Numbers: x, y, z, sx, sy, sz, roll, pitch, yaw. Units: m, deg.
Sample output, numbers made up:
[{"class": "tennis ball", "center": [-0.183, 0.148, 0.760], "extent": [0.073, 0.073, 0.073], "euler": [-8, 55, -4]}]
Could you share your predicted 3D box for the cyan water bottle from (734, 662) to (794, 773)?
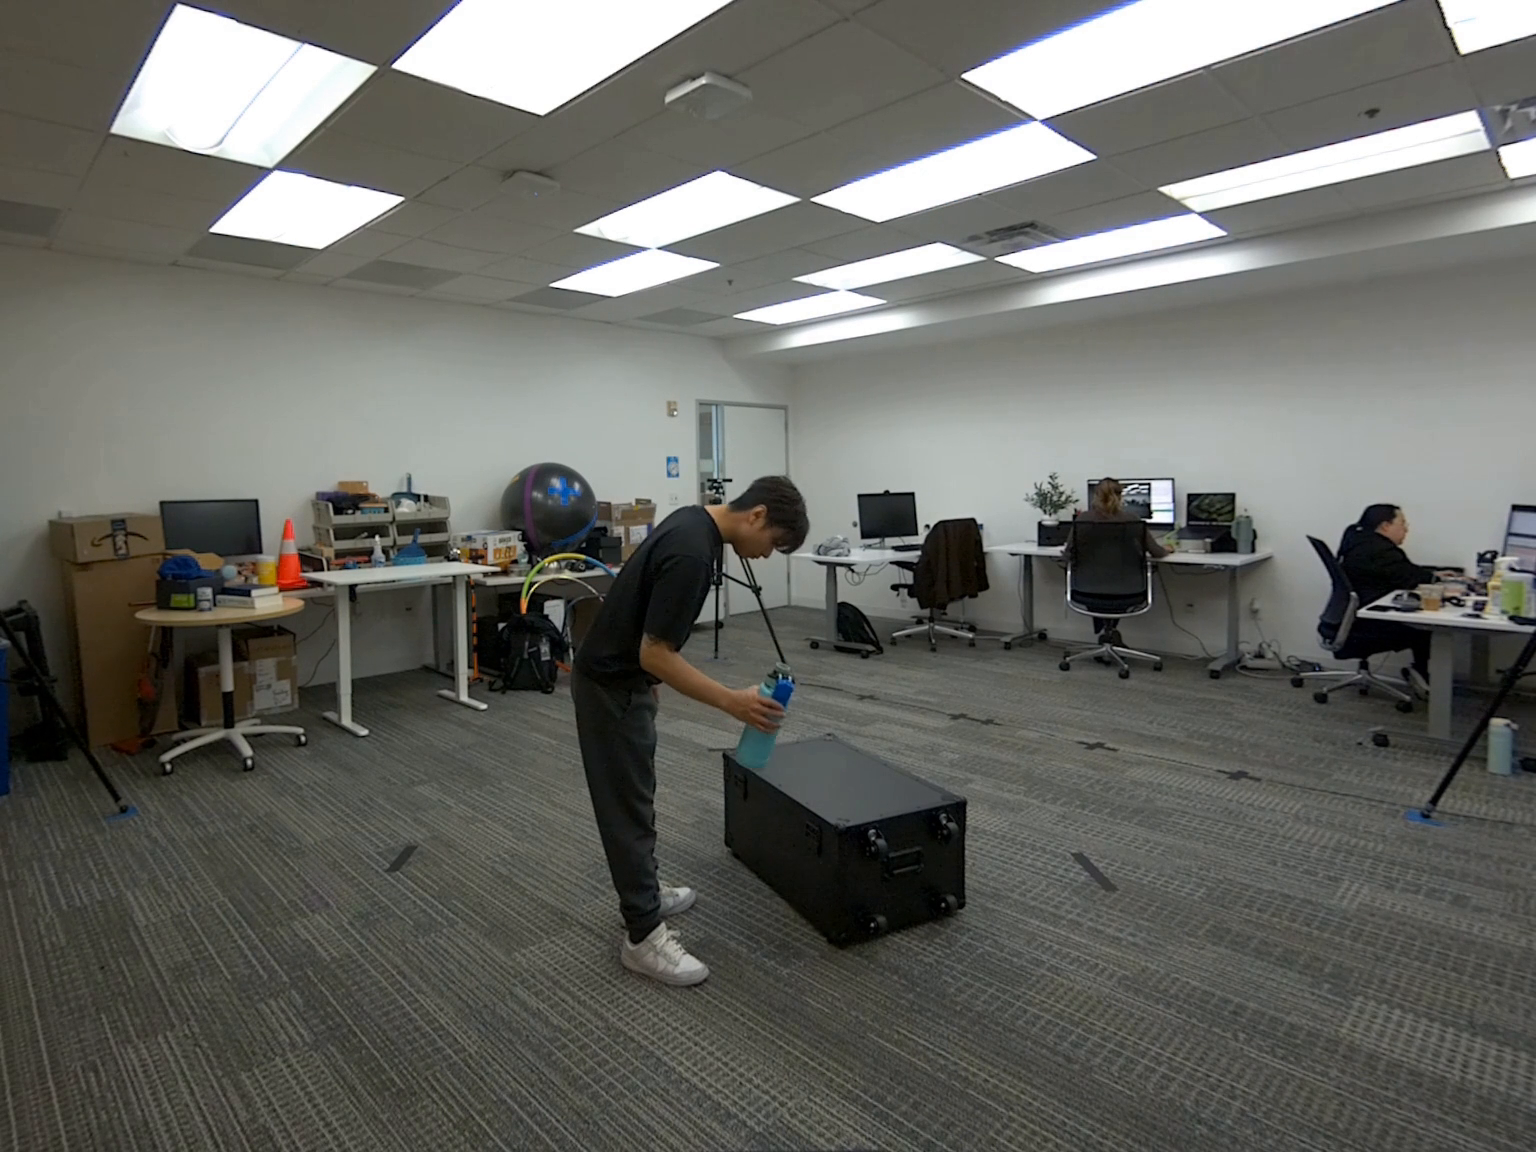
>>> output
[{"class": "cyan water bottle", "center": [-0.002, 0.376, 2.264], "extent": [0.091, 0.281, 0.094], "euler": [19, 14, -7]}]
